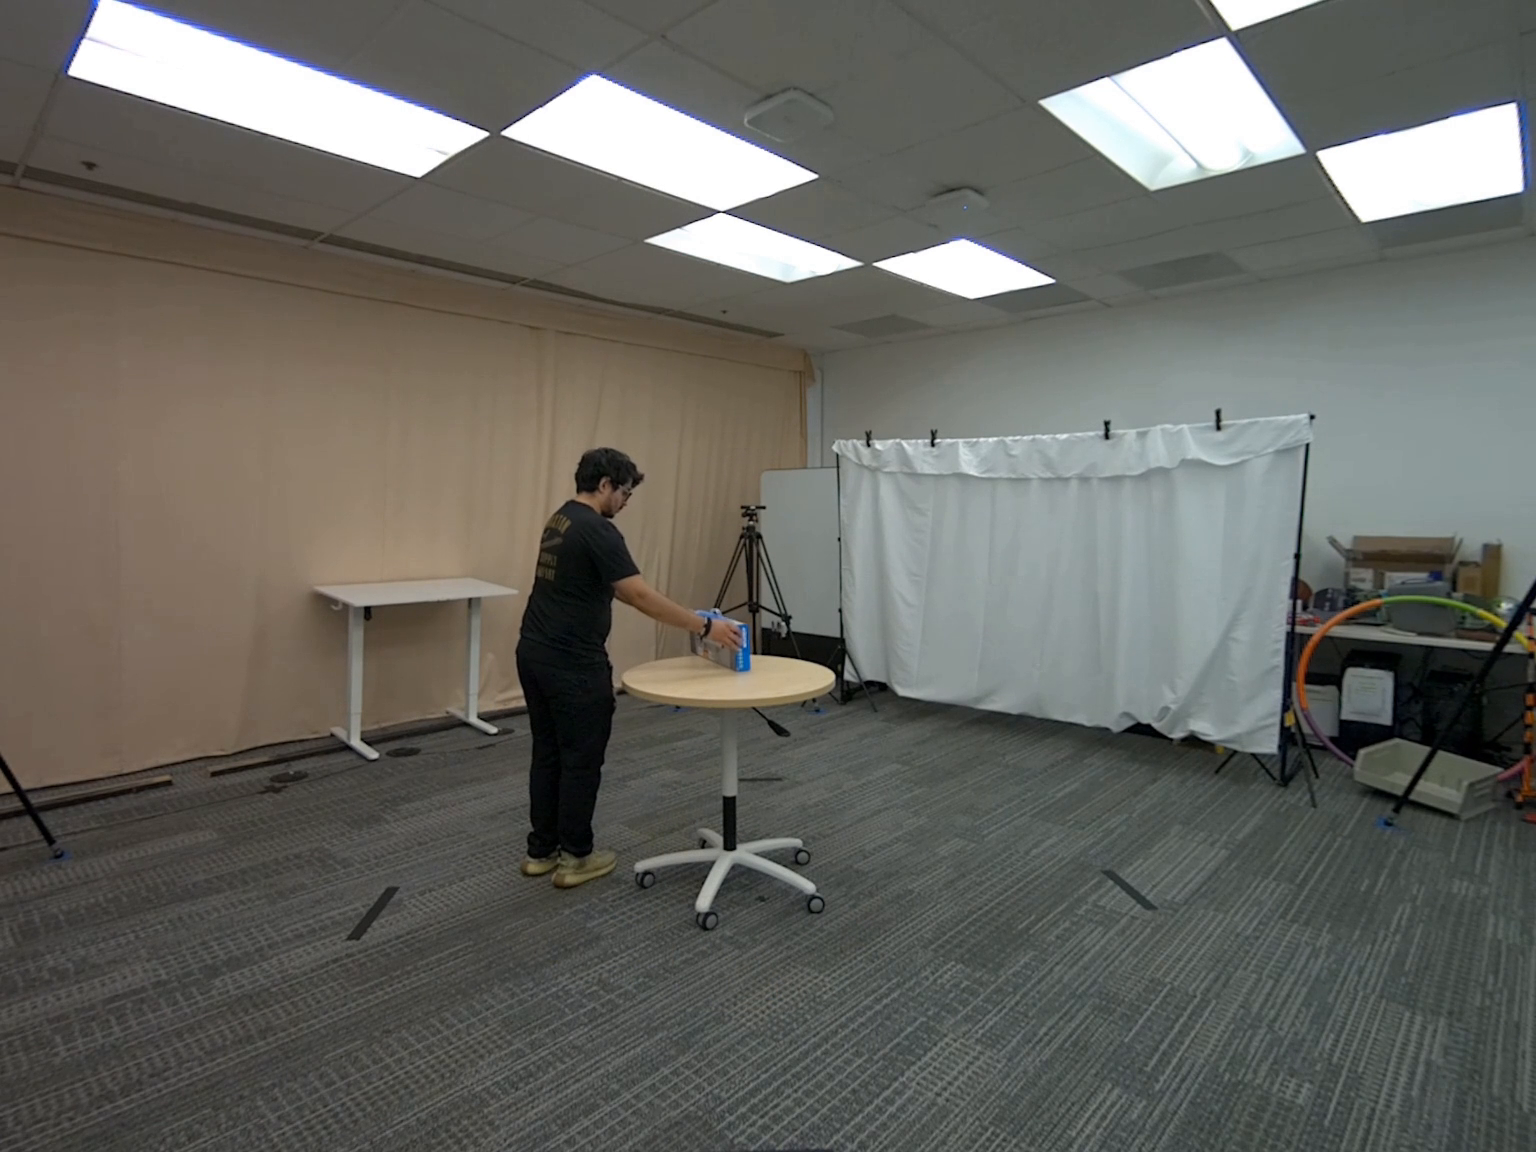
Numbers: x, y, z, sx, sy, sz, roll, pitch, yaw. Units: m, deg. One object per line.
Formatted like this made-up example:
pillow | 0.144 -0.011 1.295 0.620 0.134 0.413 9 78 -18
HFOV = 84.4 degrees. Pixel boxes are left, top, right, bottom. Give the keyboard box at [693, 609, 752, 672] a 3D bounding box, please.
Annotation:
keyboard box | -0.194 0.249 3.279 0.058 0.175 0.449 -6 7 -28
